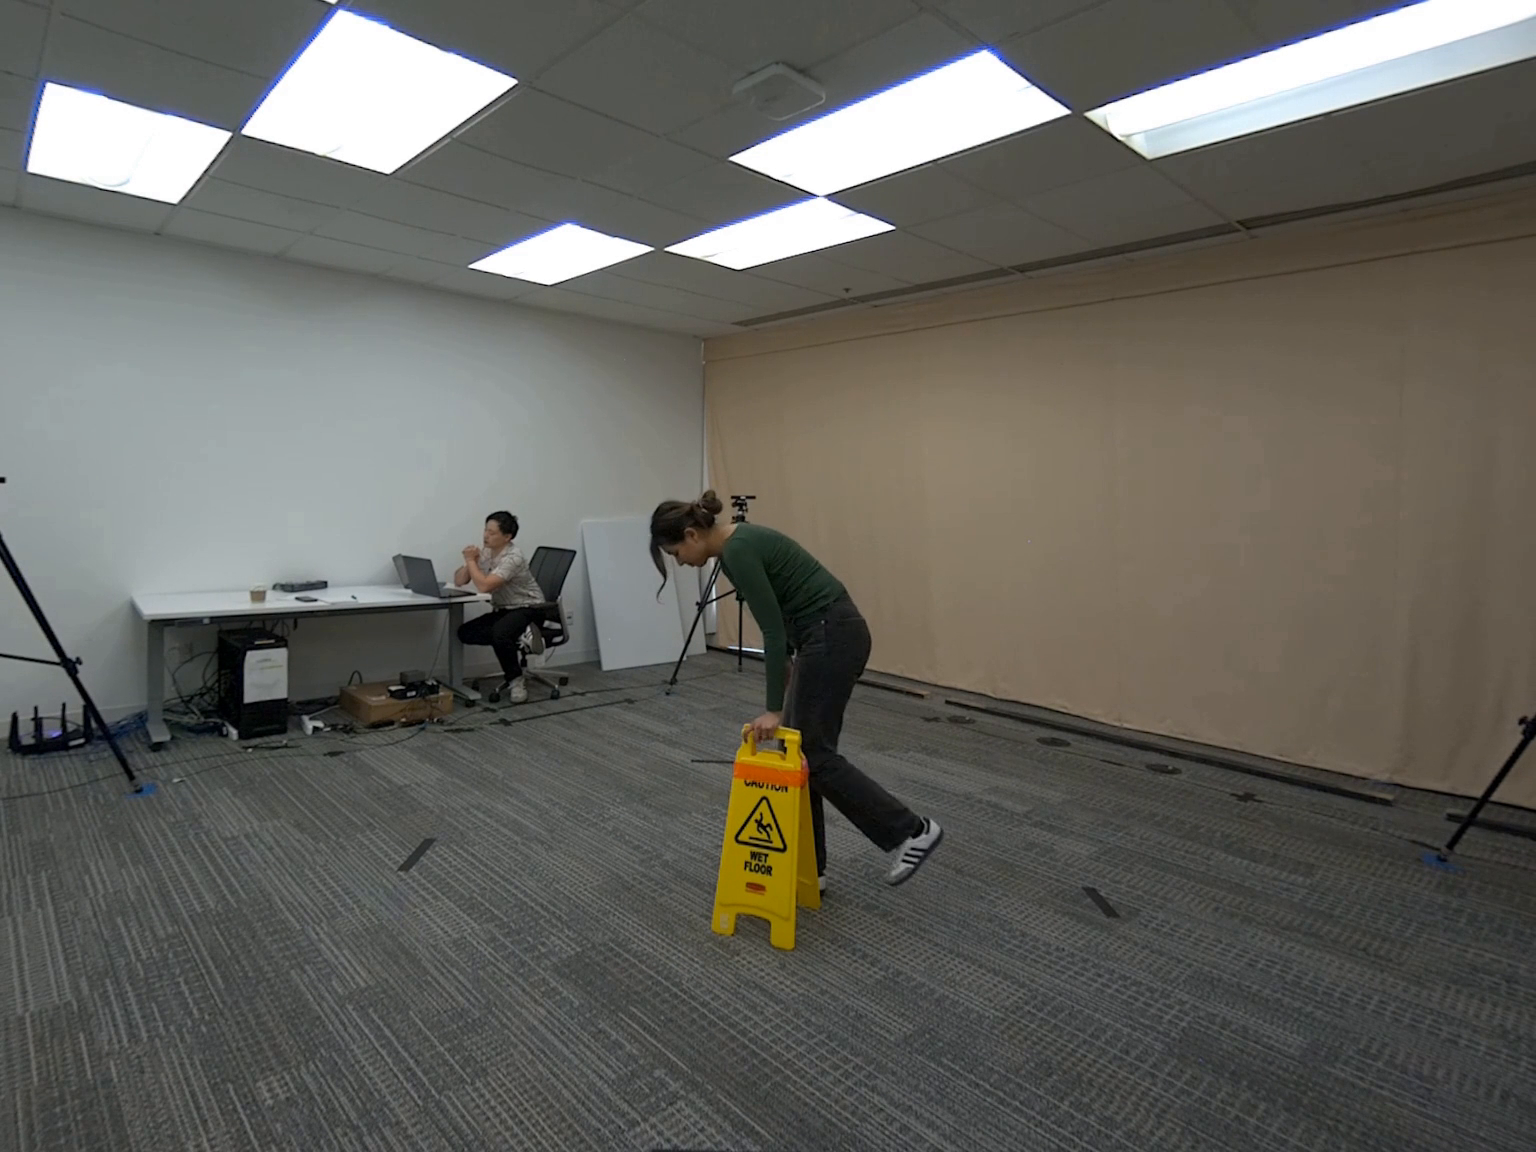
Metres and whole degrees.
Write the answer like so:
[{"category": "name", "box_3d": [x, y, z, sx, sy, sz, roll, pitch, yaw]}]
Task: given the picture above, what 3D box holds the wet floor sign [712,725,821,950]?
[{"category": "wet floor sign", "box_3d": [0.001, 0.813, 2.760, 0.287, 0.645, 0.285, 3, 3, 21]}]
